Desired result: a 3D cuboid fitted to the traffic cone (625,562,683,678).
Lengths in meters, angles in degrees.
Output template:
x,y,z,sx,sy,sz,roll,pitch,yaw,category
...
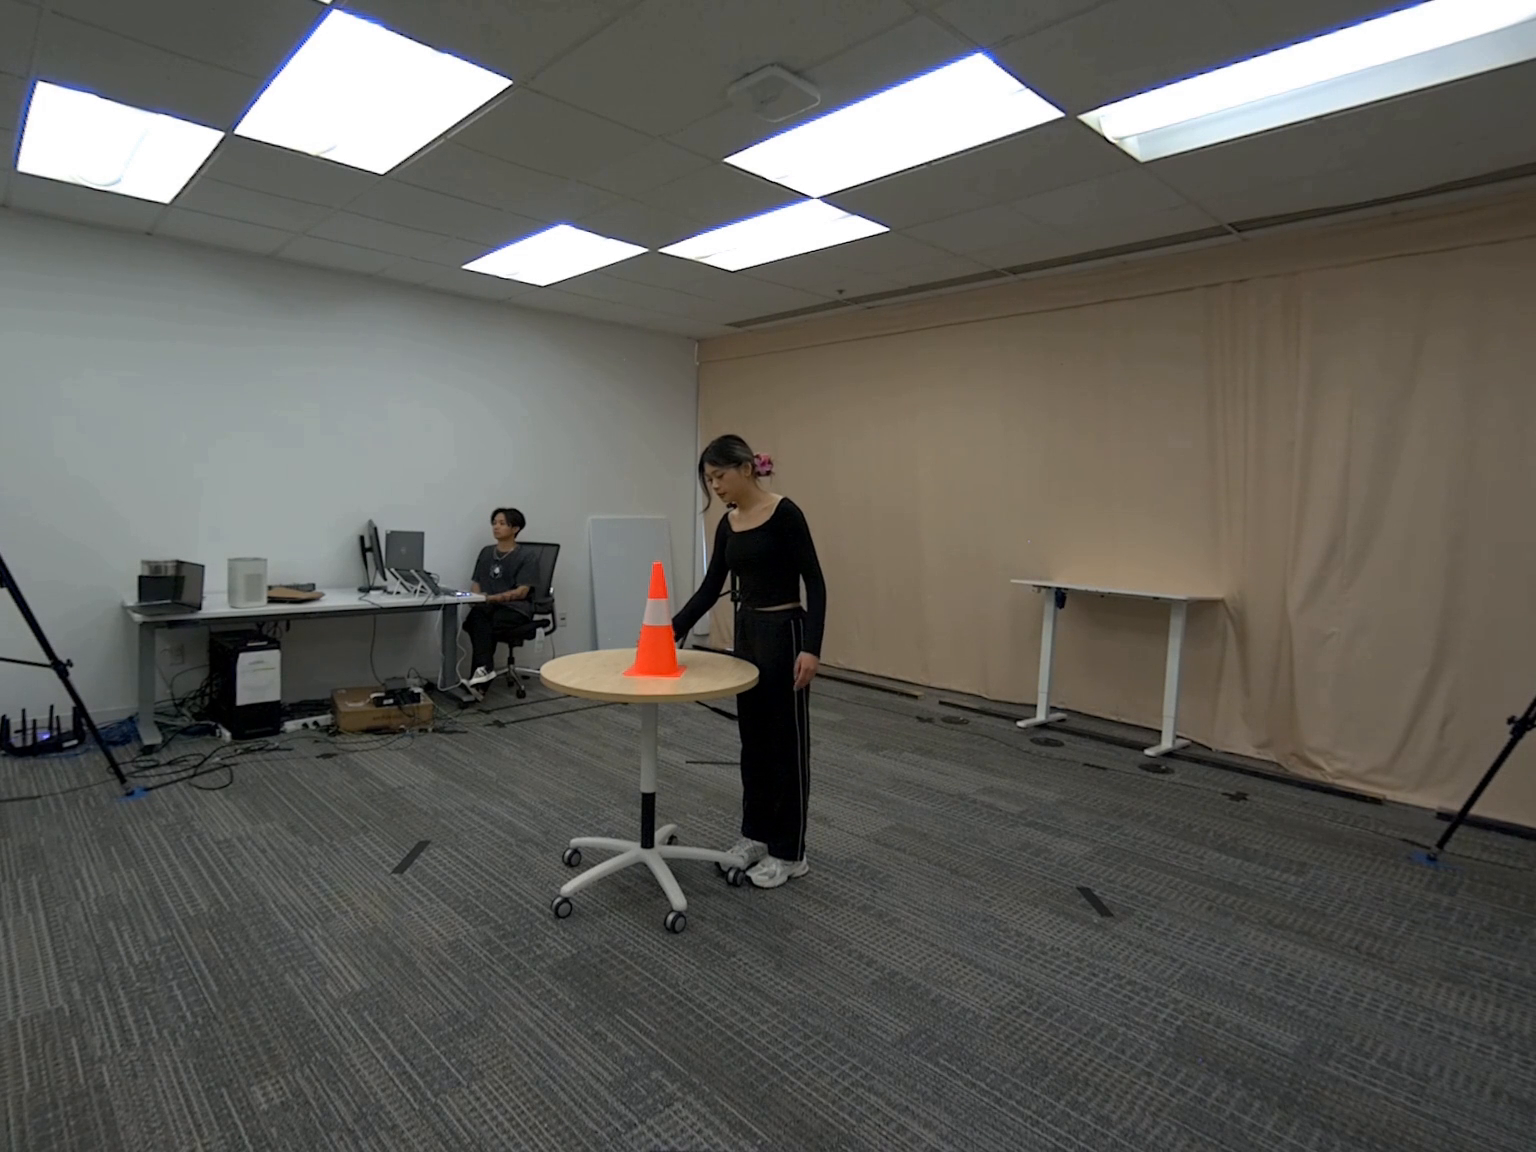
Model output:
x,y,z,sx,sy,sz,roll,pitch,yaw,category
-0.395,0.147,2.921,0.204,0.382,0.205,0,5,4,traffic cone
